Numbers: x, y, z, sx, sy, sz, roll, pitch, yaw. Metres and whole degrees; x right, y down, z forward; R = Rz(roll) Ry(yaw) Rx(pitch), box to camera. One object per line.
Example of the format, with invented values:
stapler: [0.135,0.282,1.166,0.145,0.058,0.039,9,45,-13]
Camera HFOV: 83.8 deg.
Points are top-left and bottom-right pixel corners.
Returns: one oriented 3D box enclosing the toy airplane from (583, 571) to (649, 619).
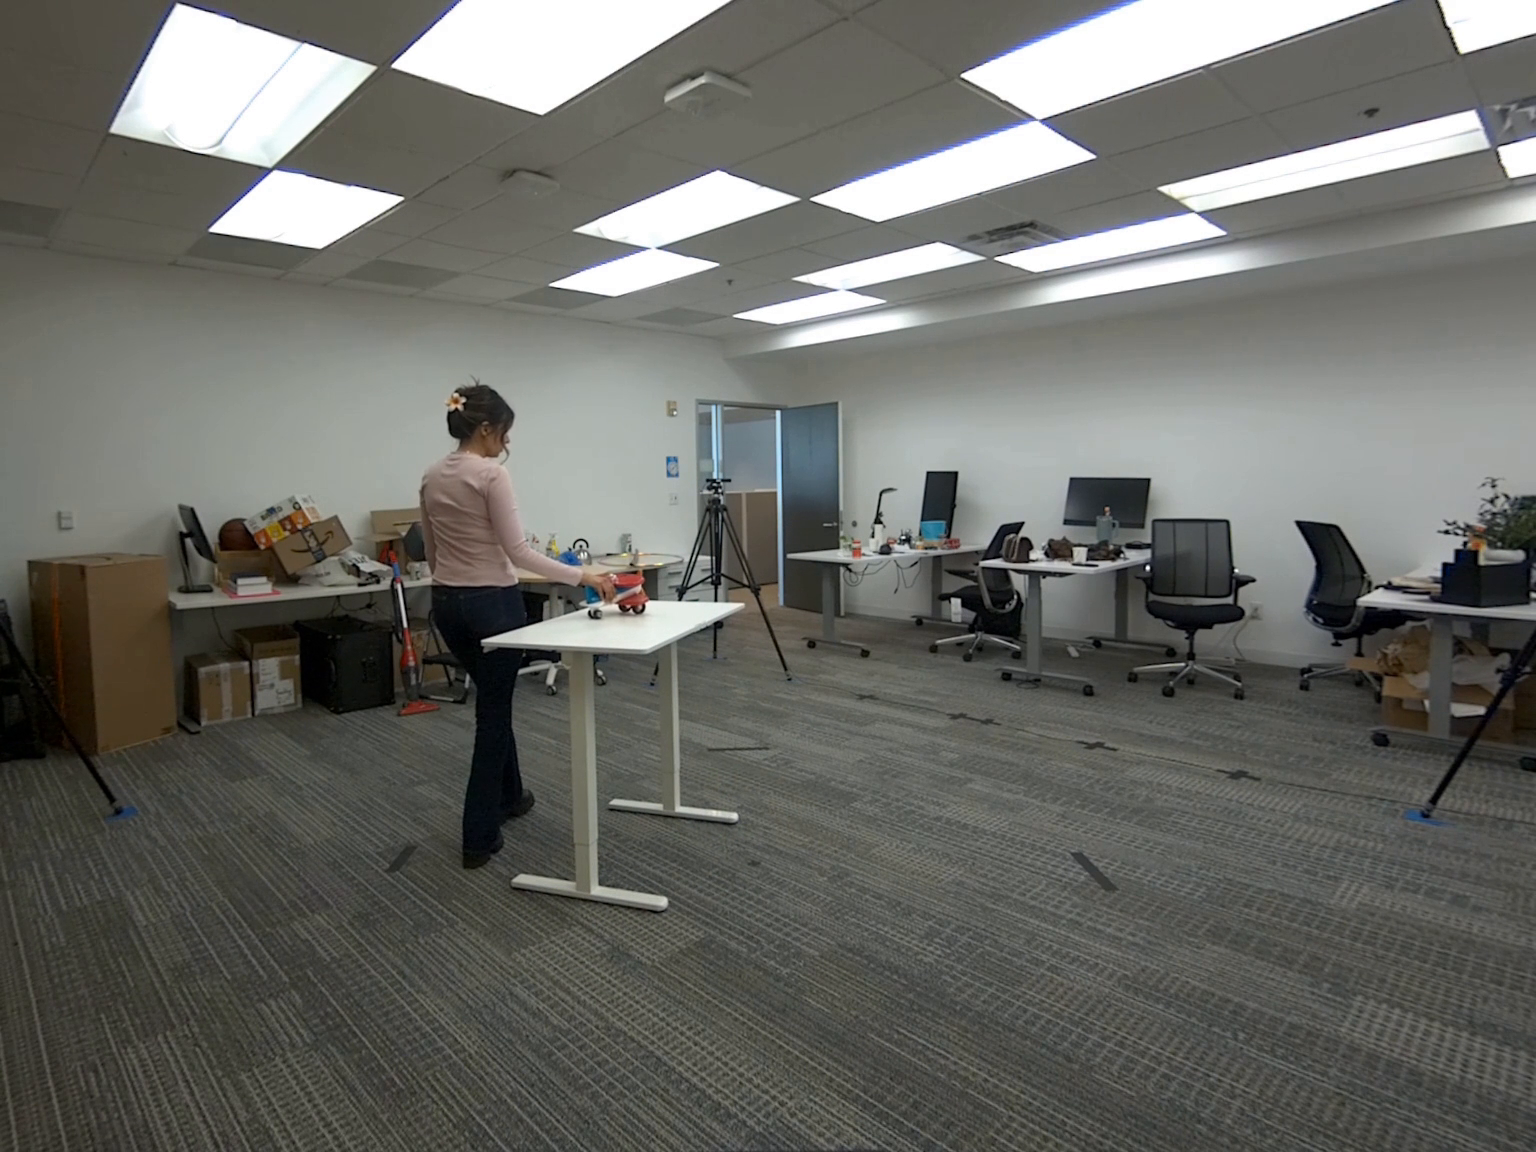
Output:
toy airplane: [-0.579,0.078,3.285,0.255,0.156,0.256,-1,4,16]
